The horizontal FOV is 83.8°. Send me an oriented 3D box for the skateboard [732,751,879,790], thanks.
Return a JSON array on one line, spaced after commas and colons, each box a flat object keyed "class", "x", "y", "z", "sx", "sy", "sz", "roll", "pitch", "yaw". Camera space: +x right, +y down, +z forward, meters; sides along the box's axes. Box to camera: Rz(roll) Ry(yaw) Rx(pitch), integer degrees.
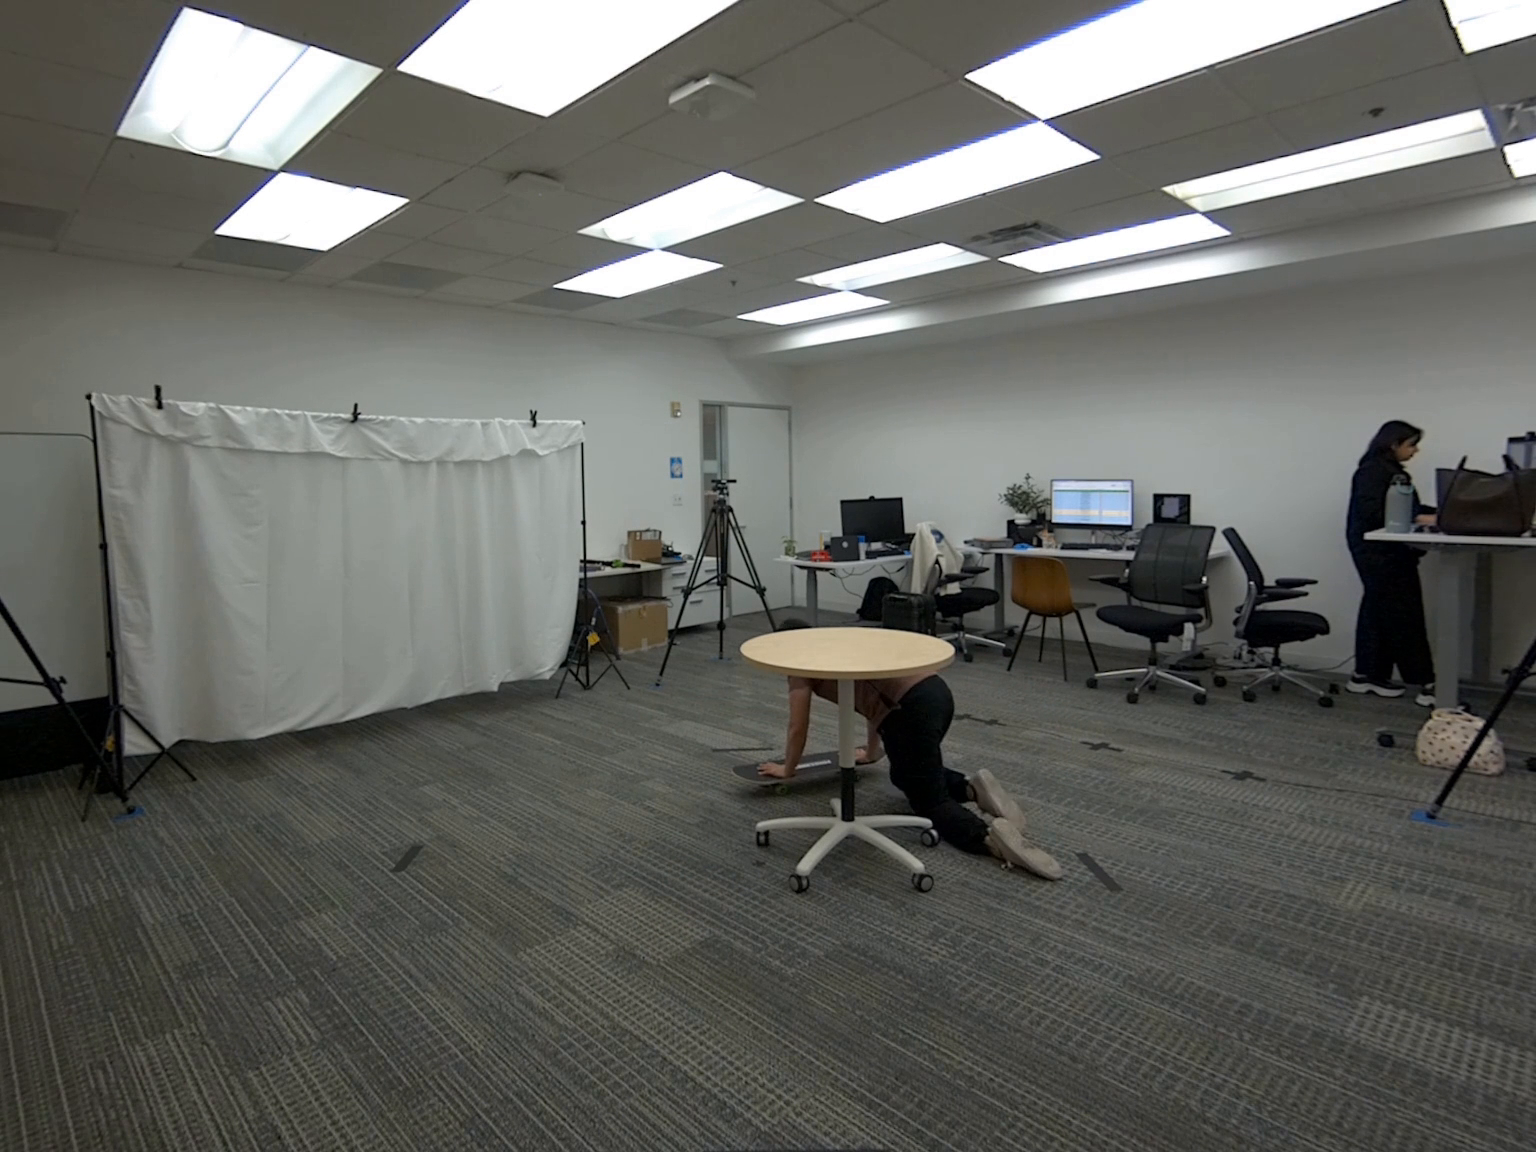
[{"class": "skateboard", "x": 0.194, "y": 0.894, "z": 3.922, "sx": 0.769, "sy": 0.109, "sz": 0.199, "roll": -3, "pitch": 10, "yaw": -24}]
